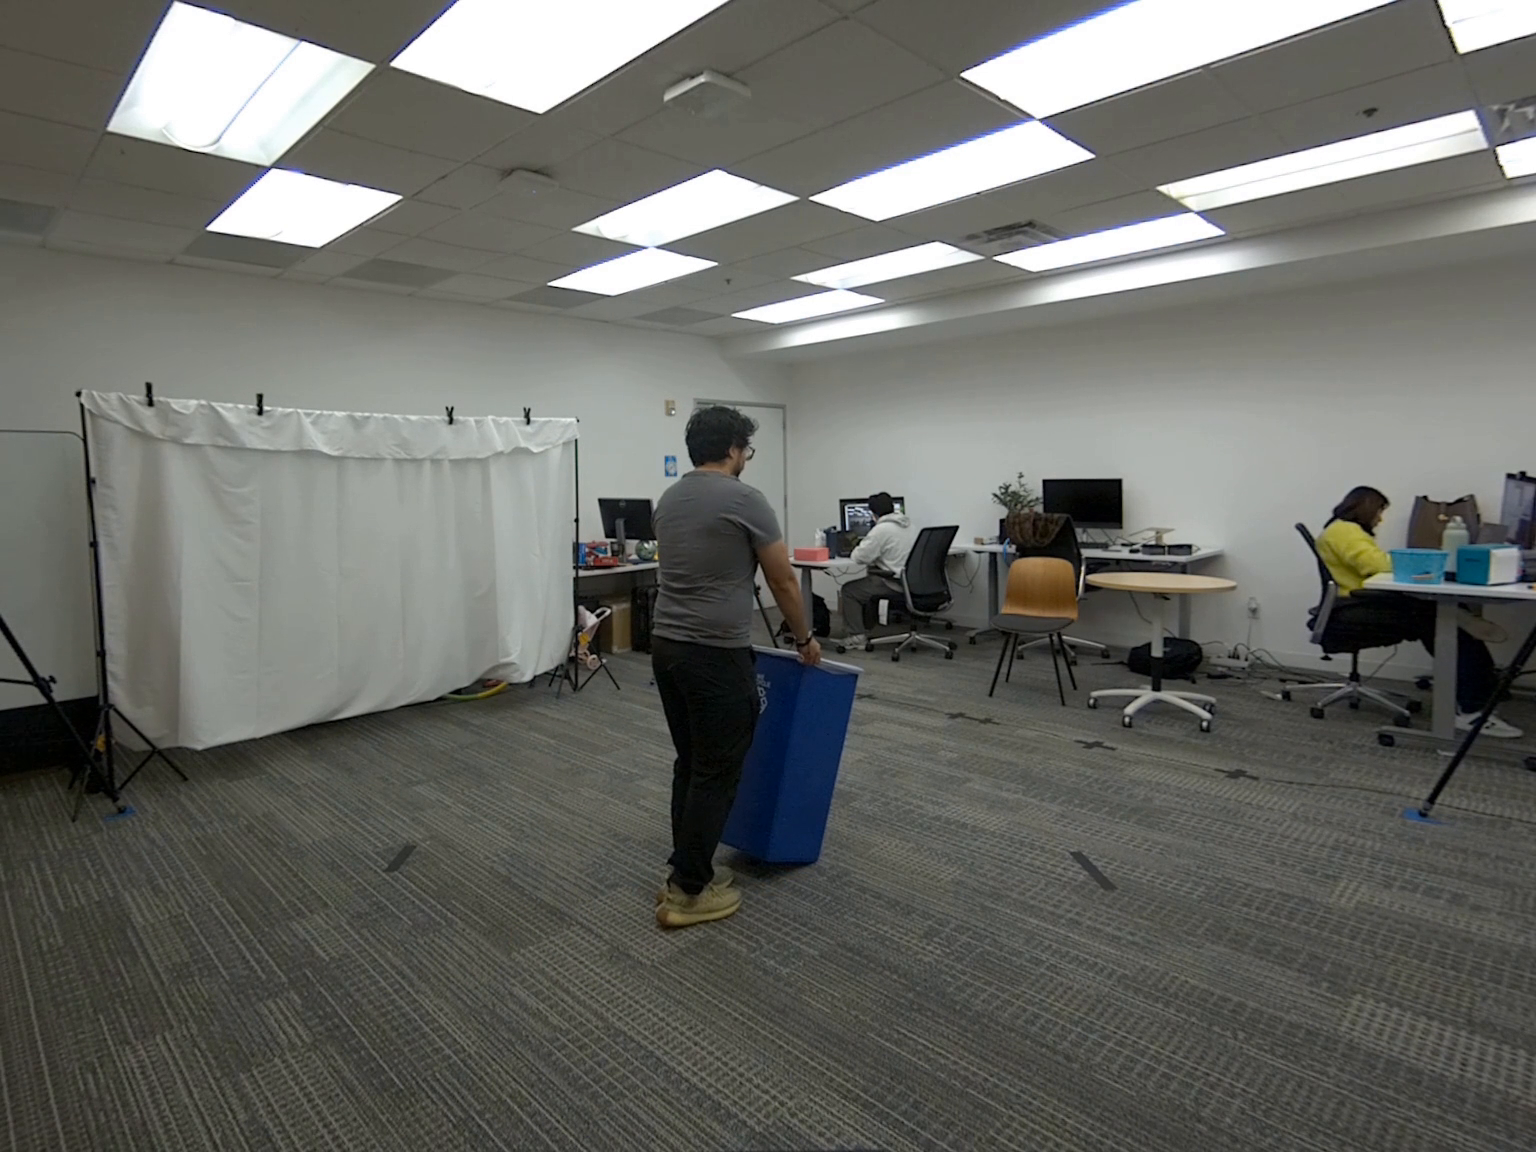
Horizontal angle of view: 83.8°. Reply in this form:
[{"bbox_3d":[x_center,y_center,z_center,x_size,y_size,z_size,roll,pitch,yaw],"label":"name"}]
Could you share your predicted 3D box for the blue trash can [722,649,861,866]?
[{"bbox_3d":[0.053,0.648,3.164,0.390,0.718,0.360,4,-12,42],"label":"blue trash can"}]
